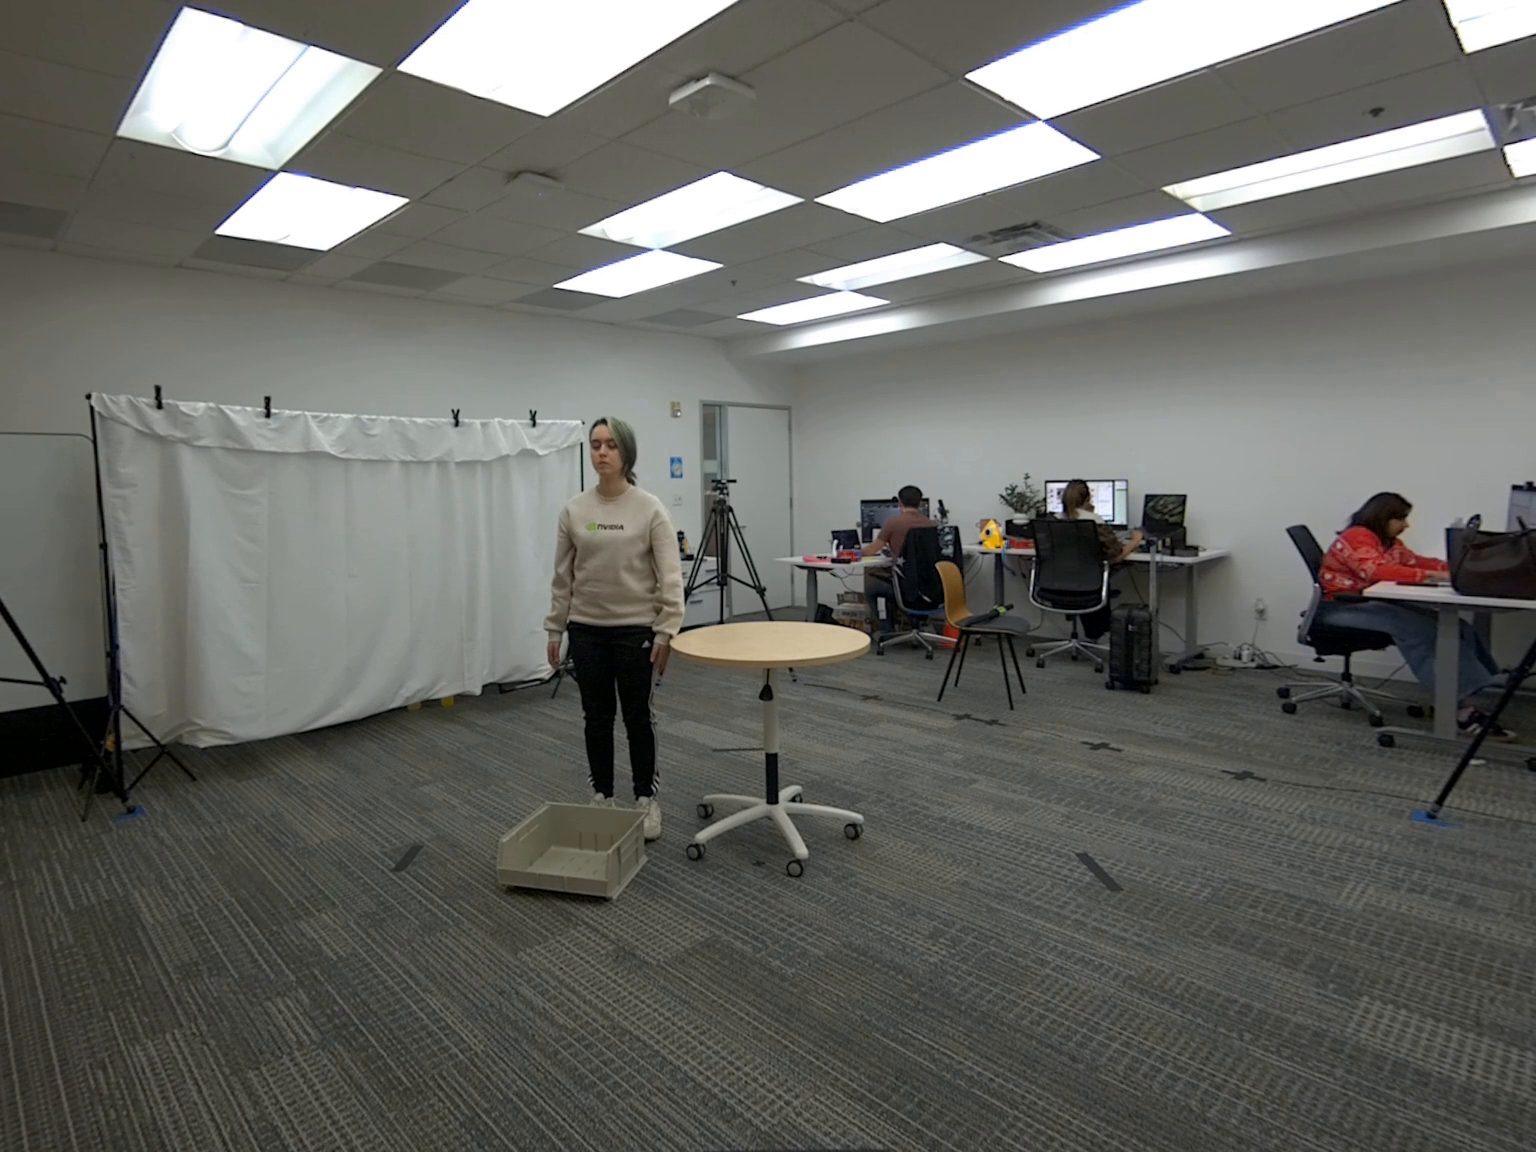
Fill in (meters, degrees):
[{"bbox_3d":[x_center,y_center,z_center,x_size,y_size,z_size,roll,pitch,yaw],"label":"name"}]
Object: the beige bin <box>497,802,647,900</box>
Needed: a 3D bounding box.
[{"bbox_3d":[-0.688,0.982,3.037,0.429,0.188,0.373,-1,5,15],"label":"beige bin"}]
